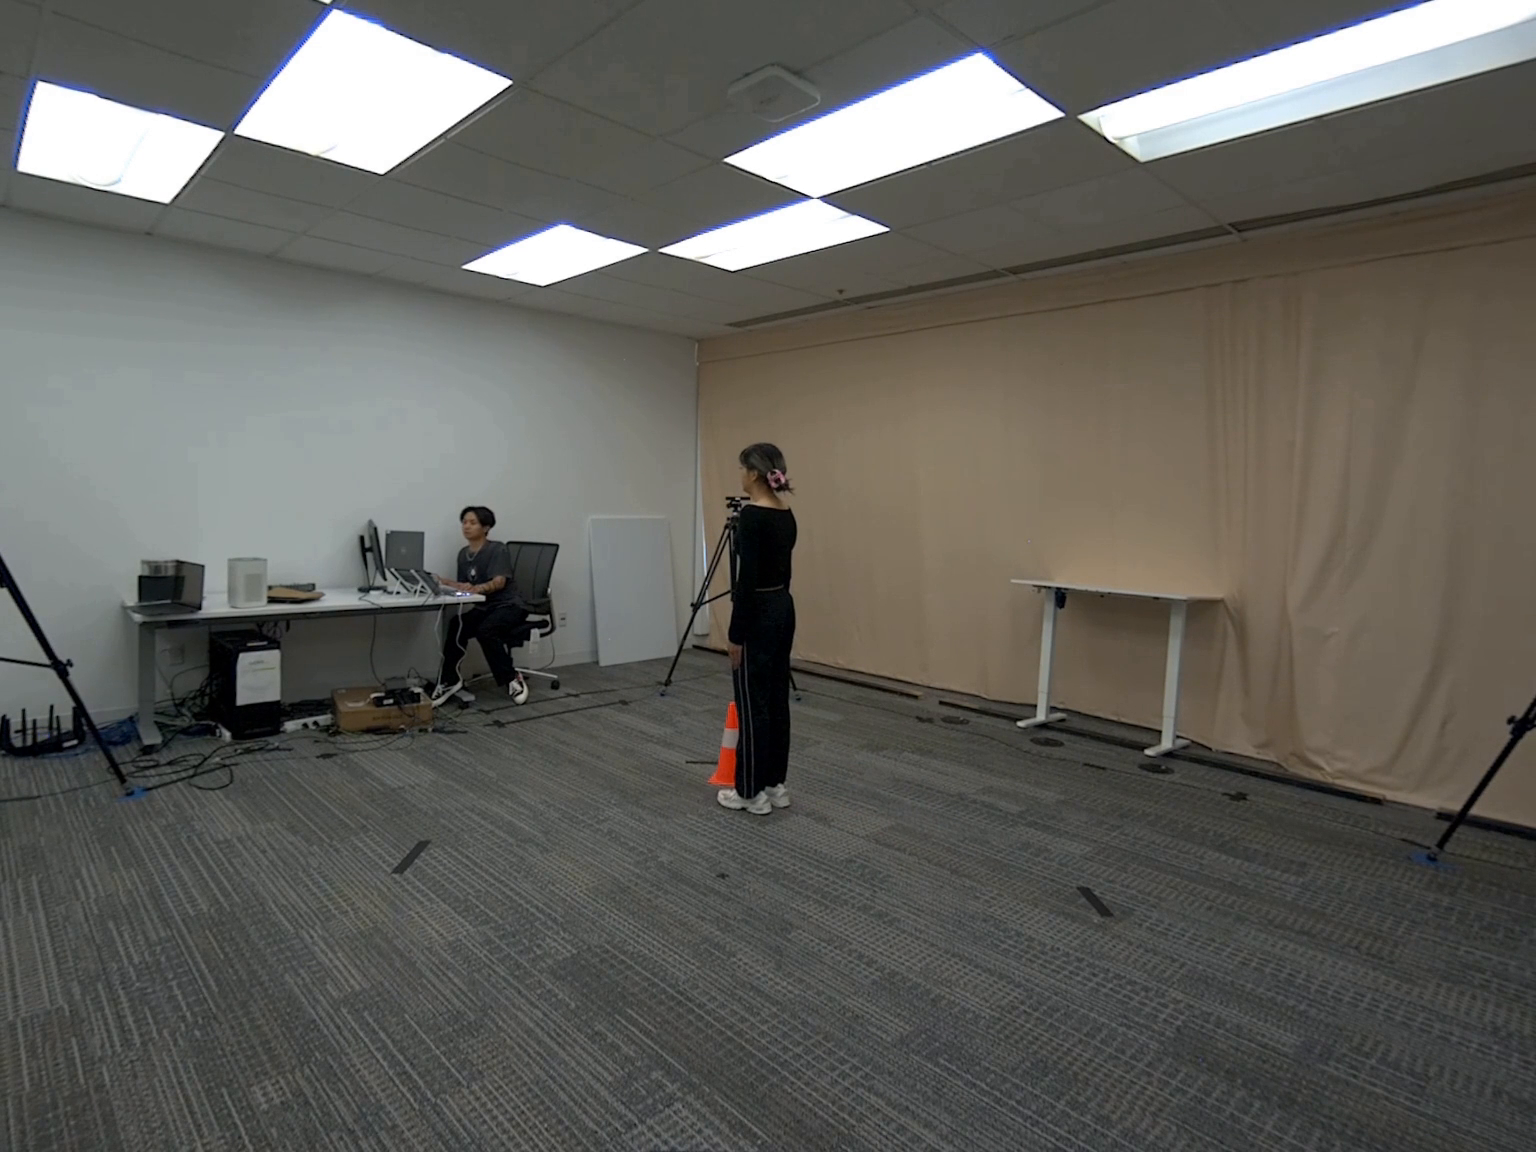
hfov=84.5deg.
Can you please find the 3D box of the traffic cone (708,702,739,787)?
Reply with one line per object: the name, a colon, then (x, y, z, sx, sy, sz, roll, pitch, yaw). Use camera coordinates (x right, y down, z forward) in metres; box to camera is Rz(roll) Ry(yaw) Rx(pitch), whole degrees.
traffic cone: (-0.188, 0.823, 4.203, 0.205, 0.382, 0.203, 4, 5, 12)
